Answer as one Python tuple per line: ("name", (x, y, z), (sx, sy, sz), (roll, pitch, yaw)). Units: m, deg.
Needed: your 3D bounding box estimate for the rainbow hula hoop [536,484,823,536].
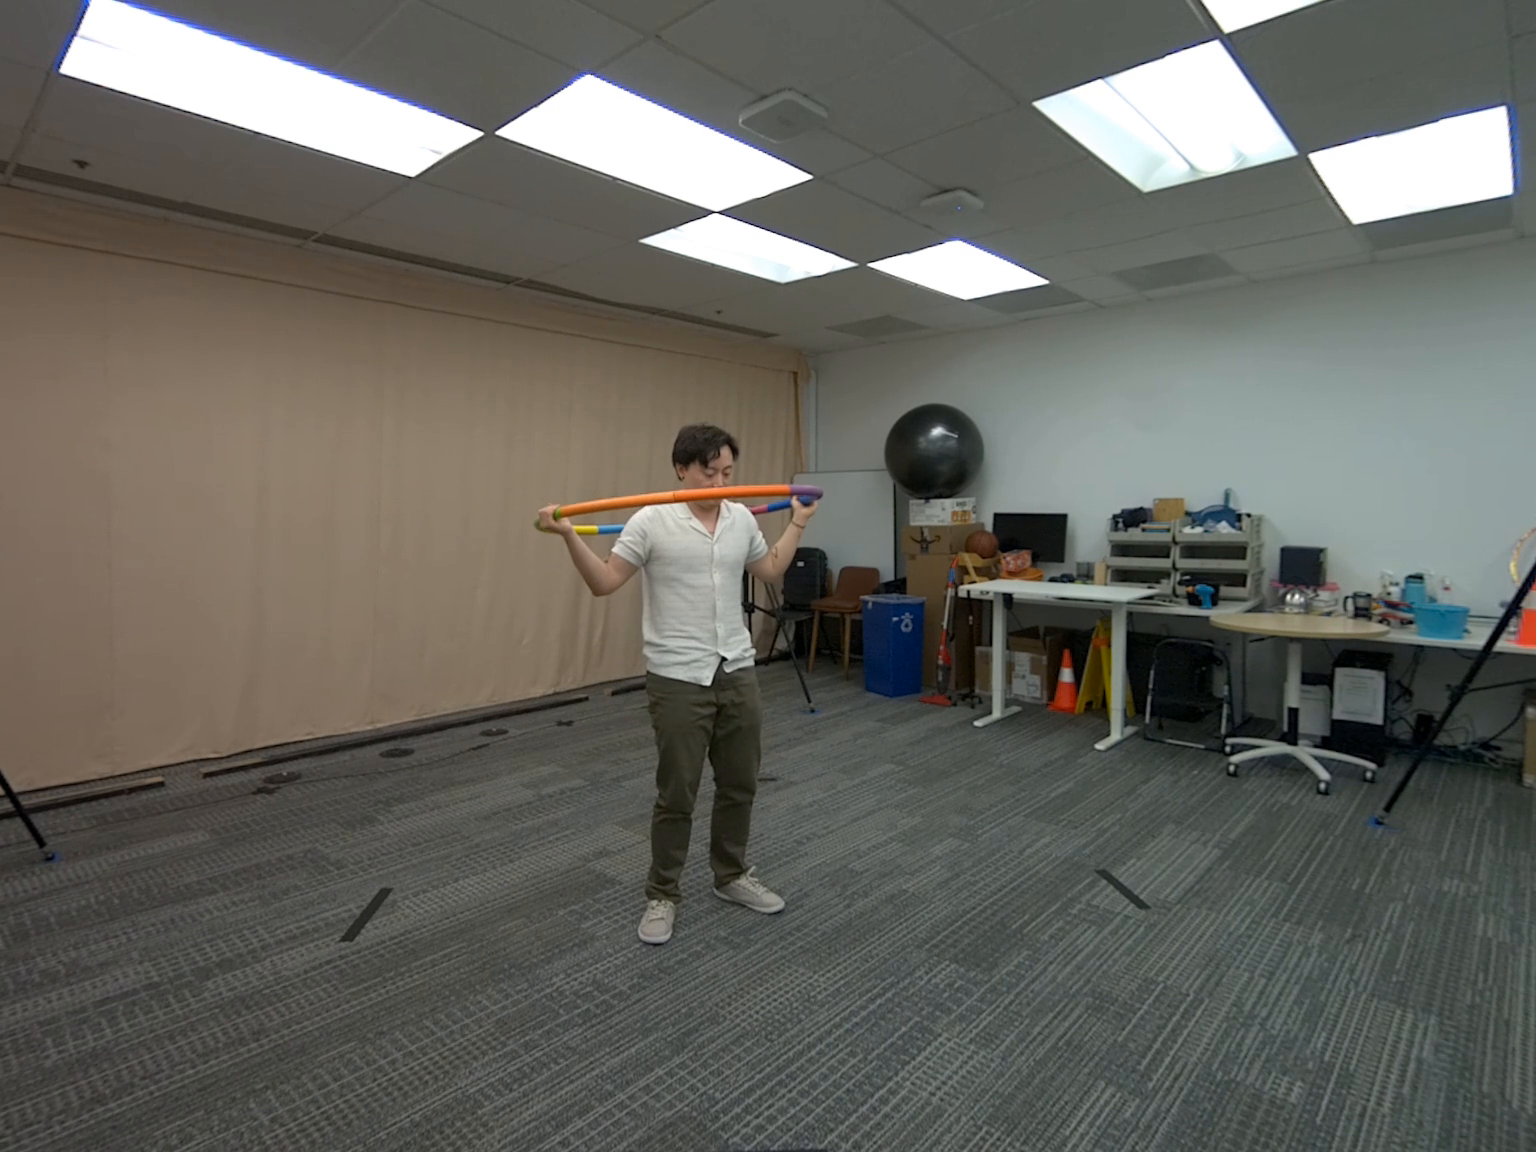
("rainbow hula hoop", (-0.302, -0.225, 2.901), (0.977, 0.035, 0.979), (-7, -1, -2))
